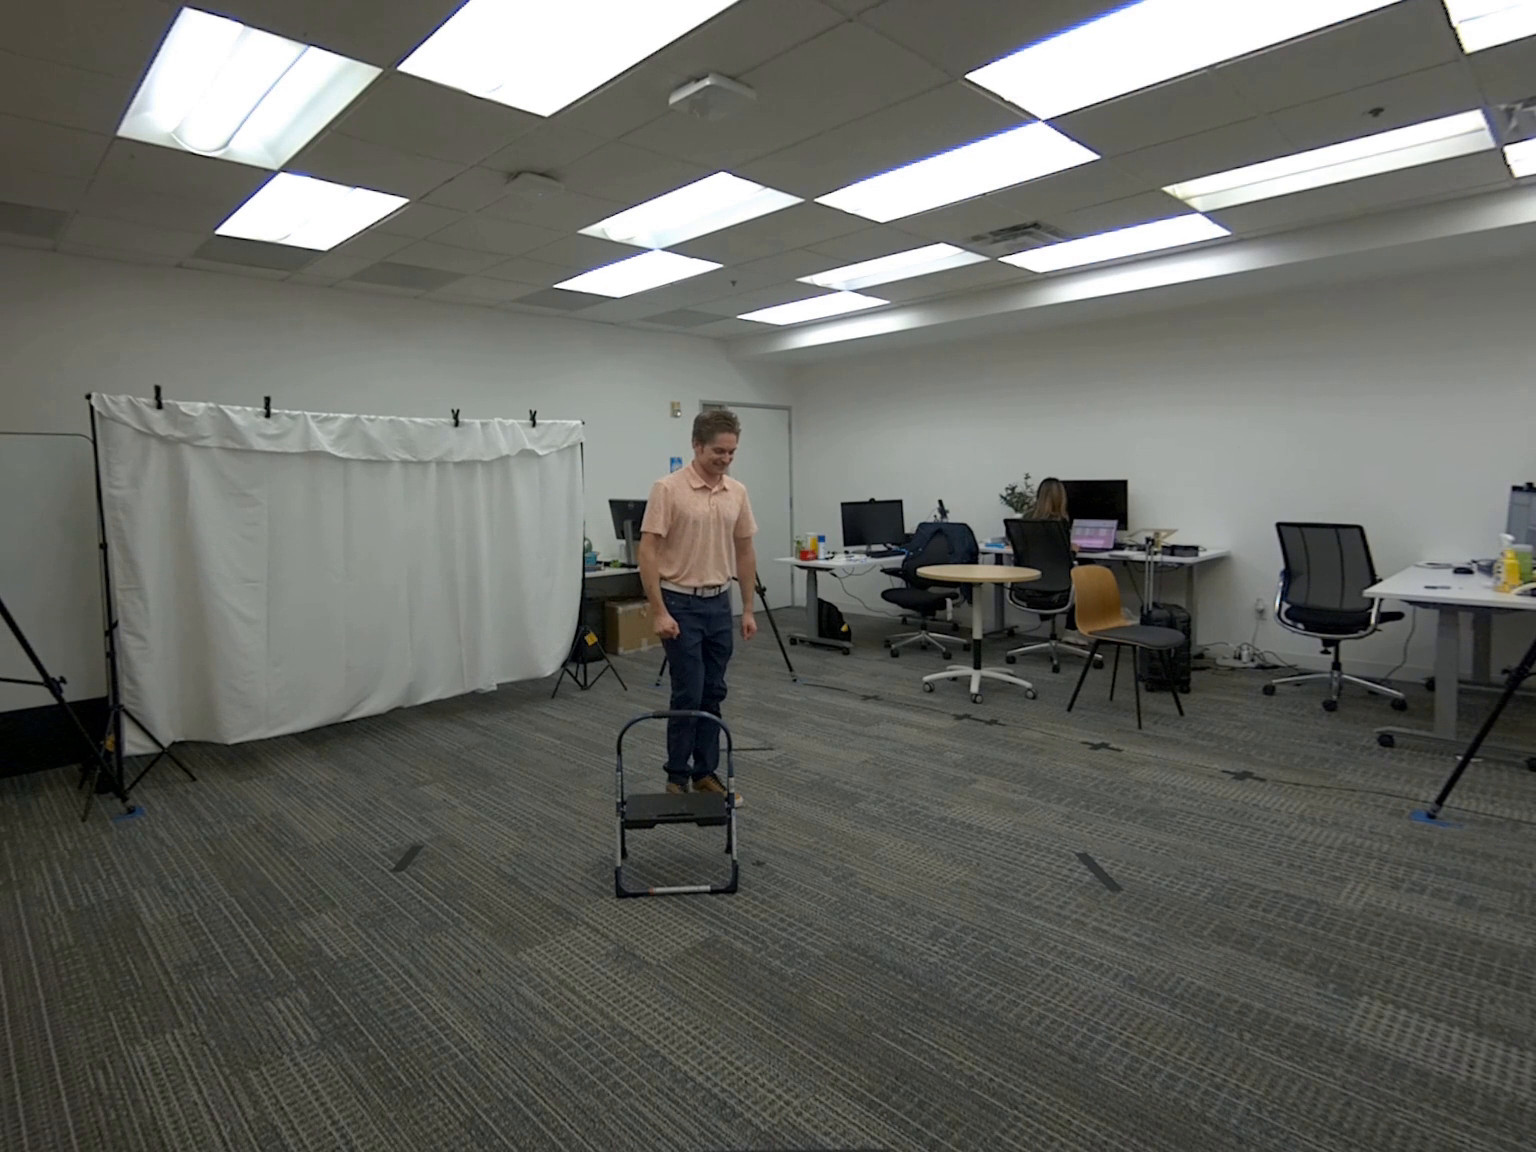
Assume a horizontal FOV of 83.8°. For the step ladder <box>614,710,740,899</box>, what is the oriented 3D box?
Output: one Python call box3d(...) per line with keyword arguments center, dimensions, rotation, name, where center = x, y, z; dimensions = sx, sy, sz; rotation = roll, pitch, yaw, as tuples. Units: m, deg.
box3d(center=(-0.332, 0.763, 3.027), dimensions=(0.428, 0.603, 0.353), rotation=(-2, 5, -6), name="step ladder")
